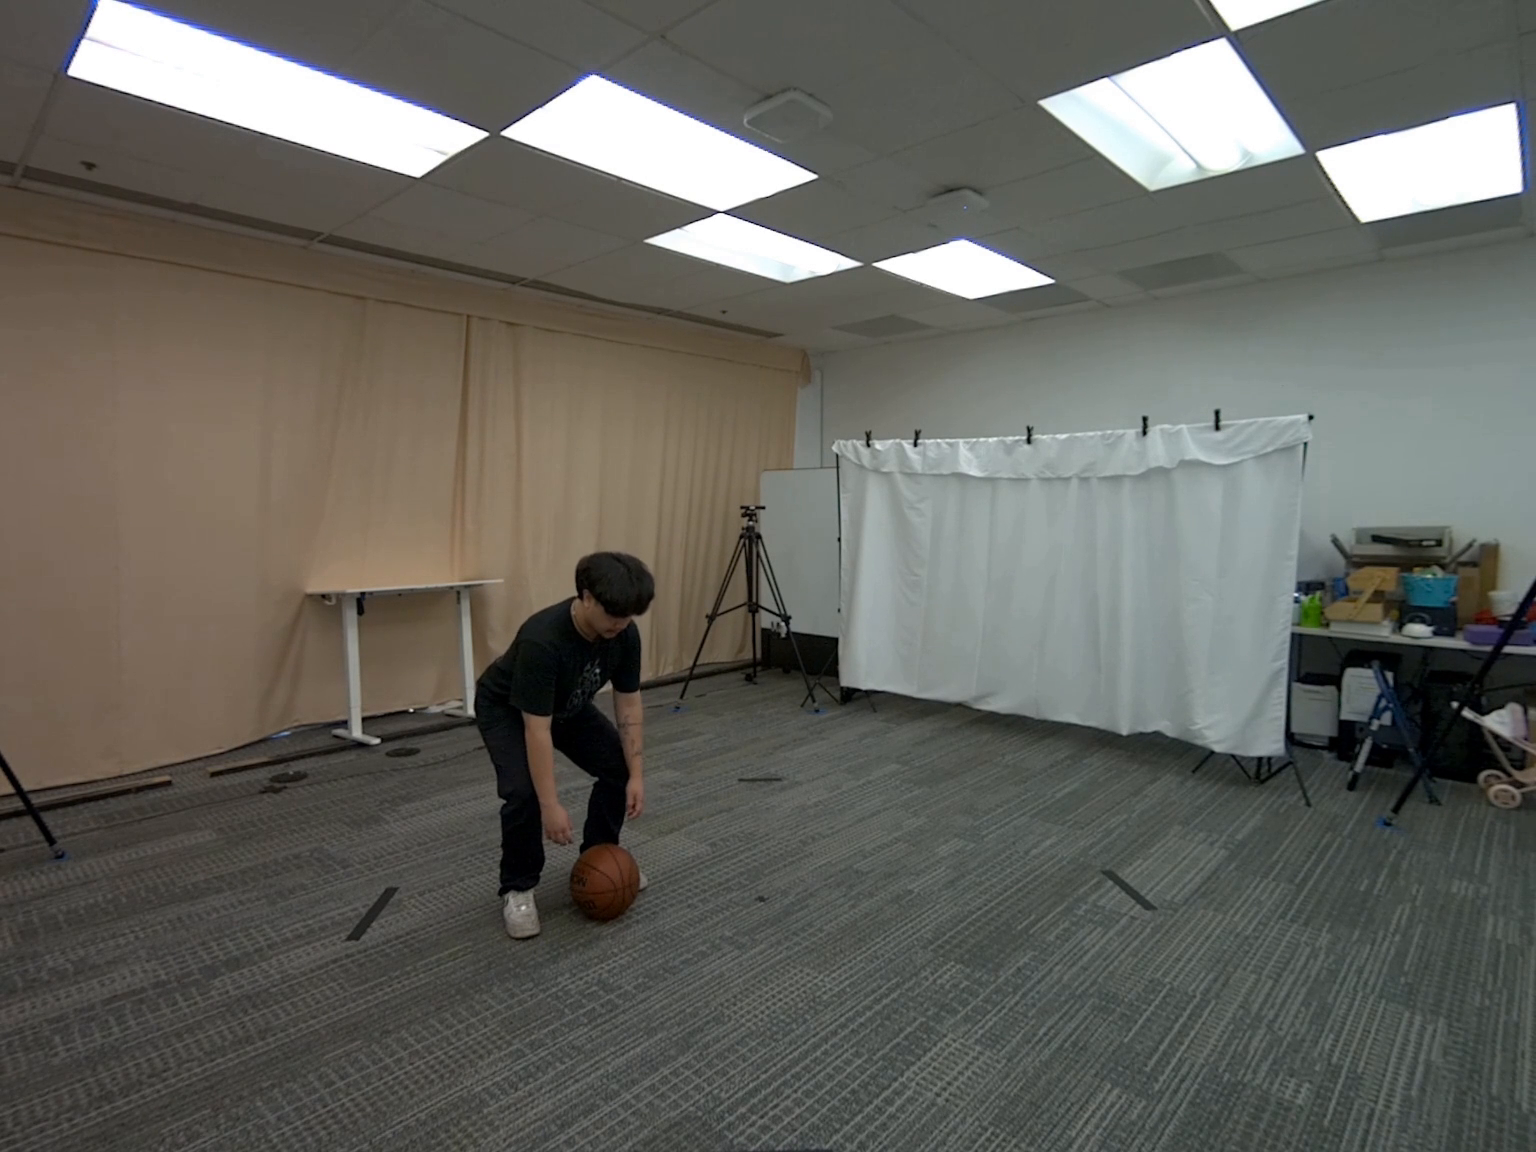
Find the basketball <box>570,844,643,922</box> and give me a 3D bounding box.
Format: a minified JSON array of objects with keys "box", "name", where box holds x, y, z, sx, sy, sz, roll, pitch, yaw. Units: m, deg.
[{"box":[-0.550,1.037,2.870,0.236,0.235,0.237,0,4,-2],"name":"basketball"}]
